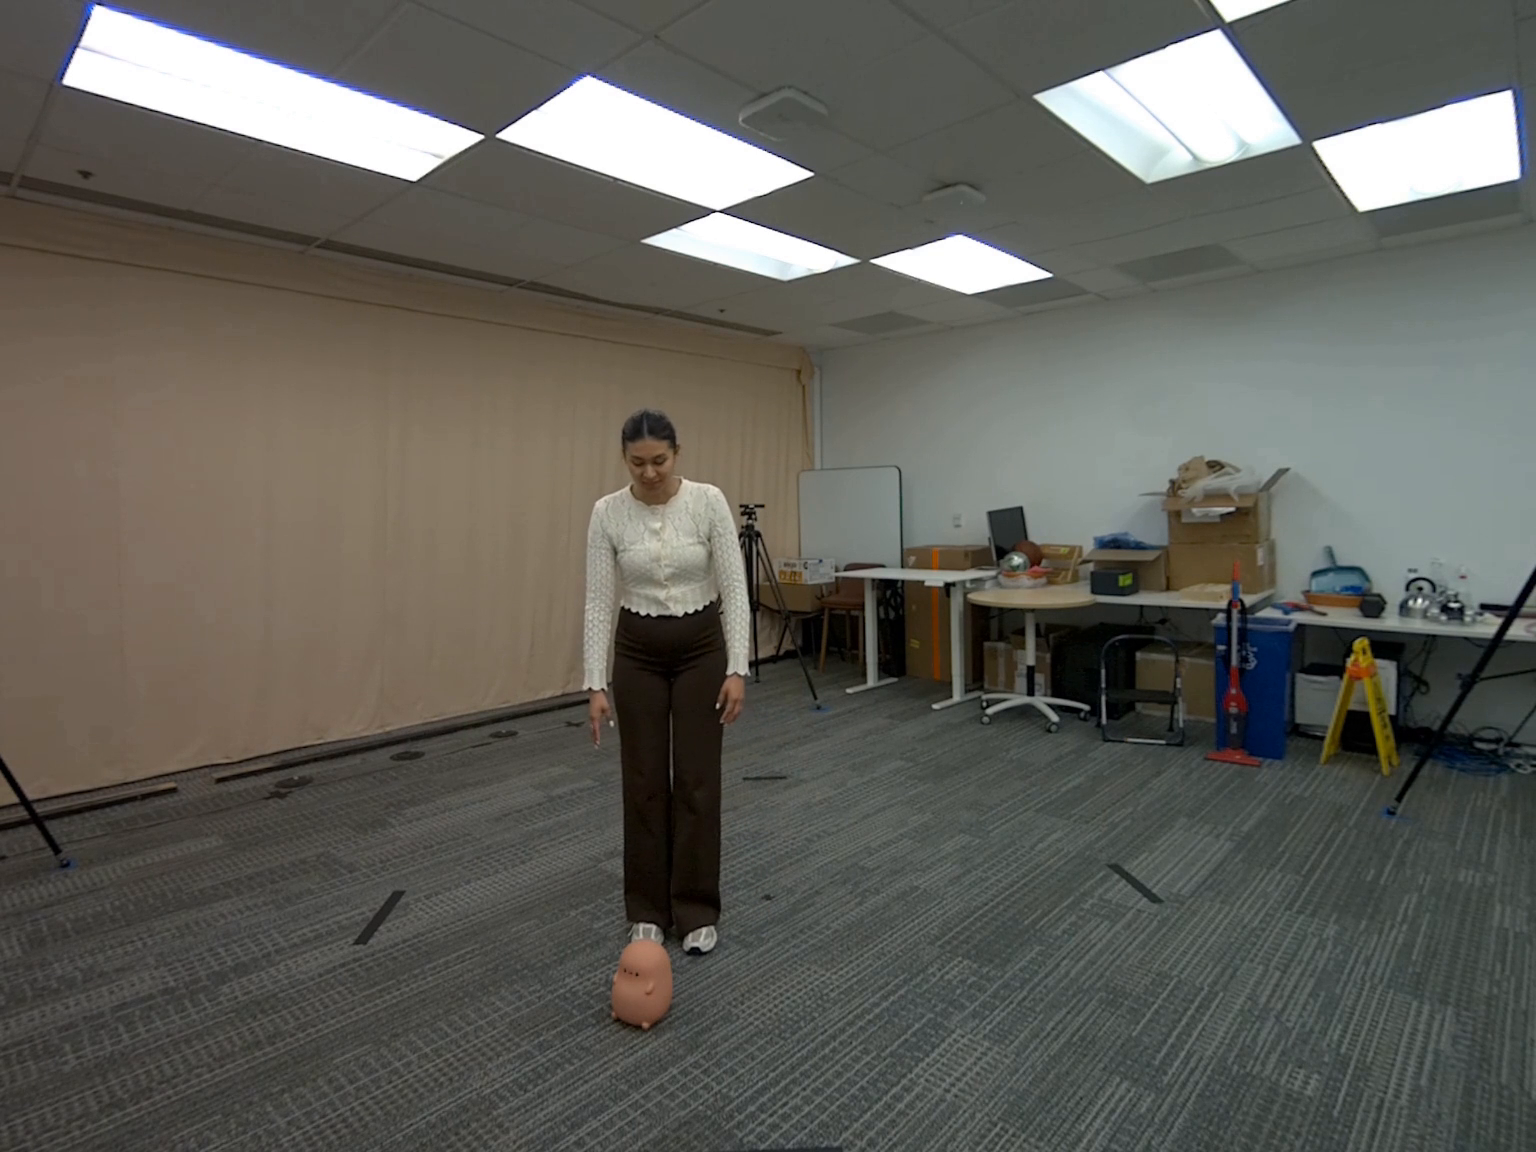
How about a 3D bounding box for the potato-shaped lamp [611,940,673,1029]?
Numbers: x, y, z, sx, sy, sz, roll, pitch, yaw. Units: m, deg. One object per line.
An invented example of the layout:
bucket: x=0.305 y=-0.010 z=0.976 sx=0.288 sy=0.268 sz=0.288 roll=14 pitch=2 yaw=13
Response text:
potato-shaped lamp: x=-0.345 y=1.100 z=2.312 sx=0.170 sy=0.198 sz=0.166 roll=1 pitch=4 yaw=34
